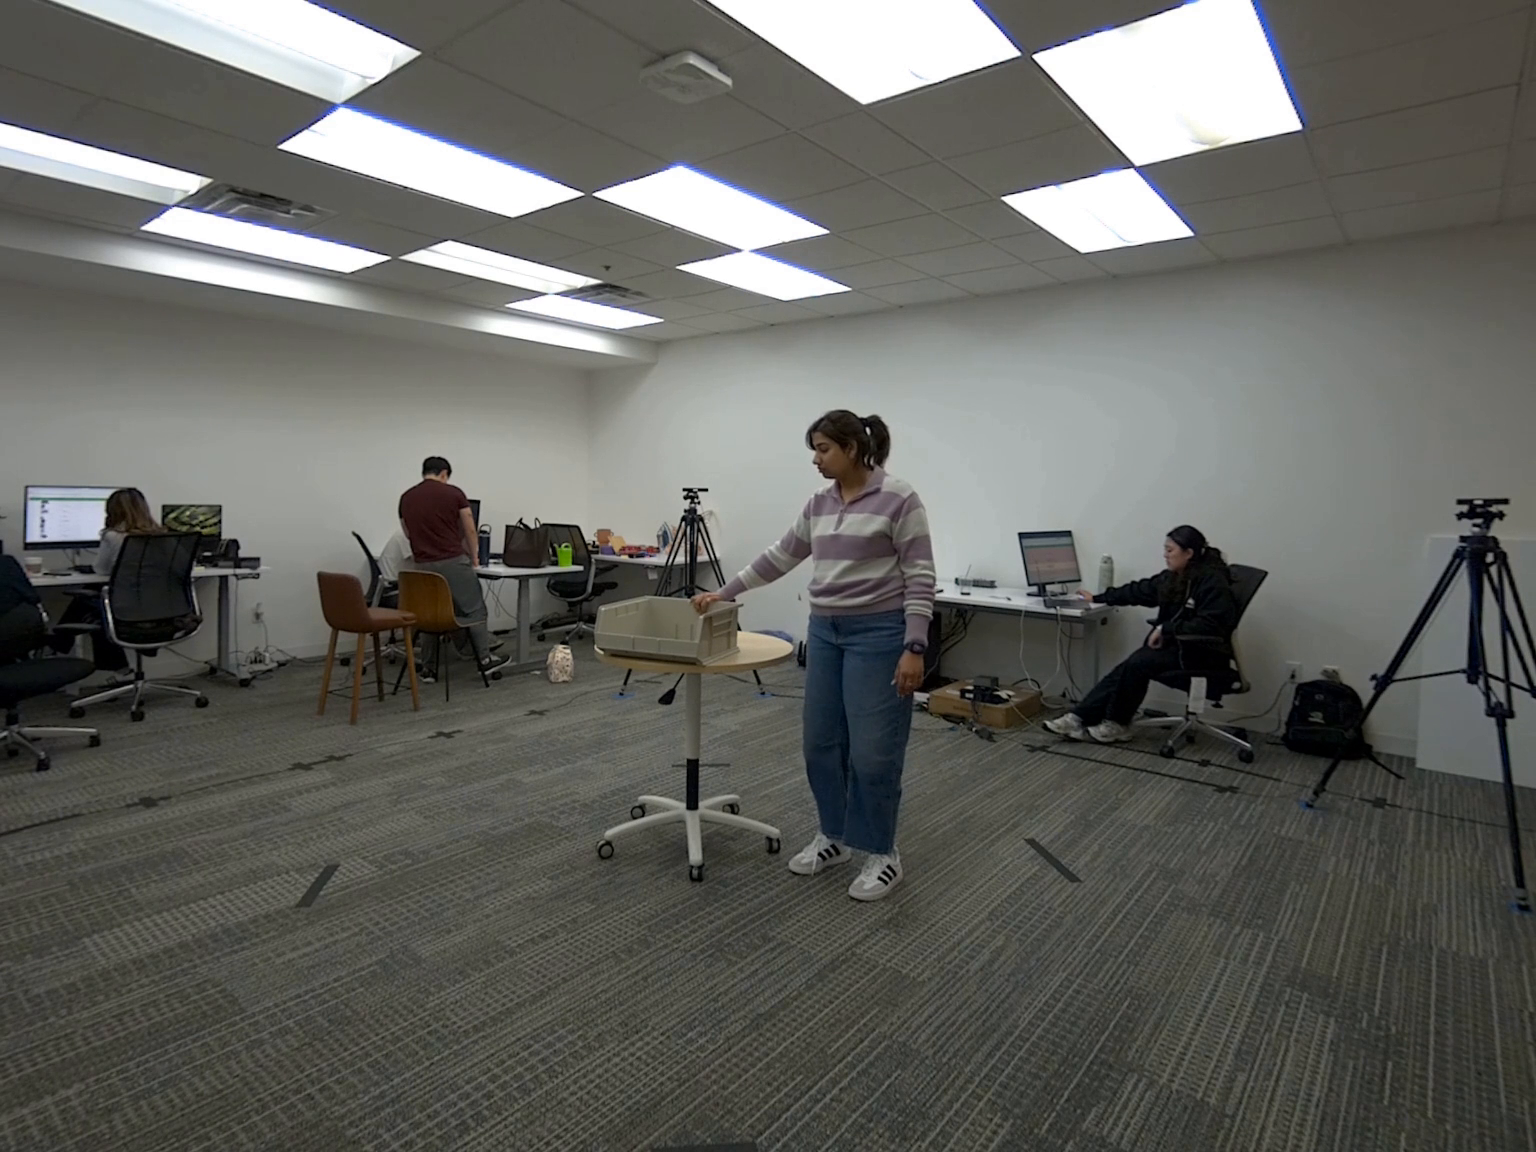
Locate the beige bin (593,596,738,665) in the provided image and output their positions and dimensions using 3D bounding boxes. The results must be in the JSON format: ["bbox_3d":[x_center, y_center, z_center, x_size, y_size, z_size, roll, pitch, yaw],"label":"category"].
[{"bbox_3d":[-0.369,0.194,3.121,0.432,0.188,0.370,2,4,22],"label":"beige bin"}]
